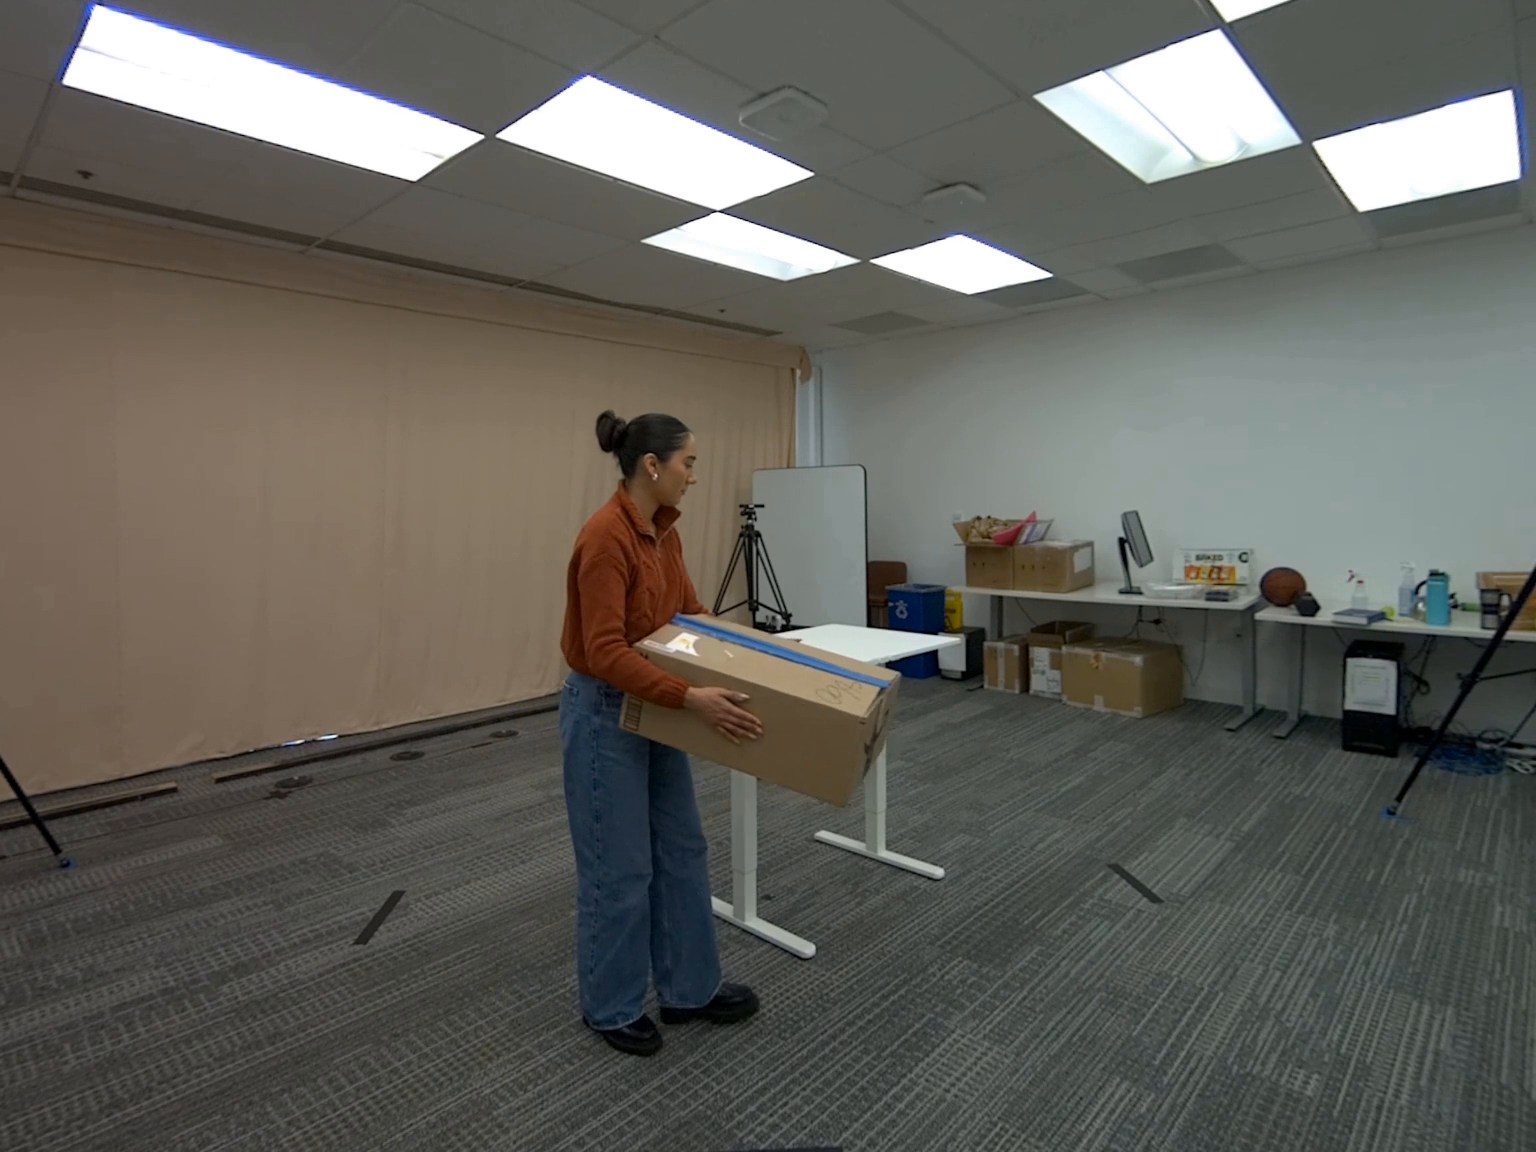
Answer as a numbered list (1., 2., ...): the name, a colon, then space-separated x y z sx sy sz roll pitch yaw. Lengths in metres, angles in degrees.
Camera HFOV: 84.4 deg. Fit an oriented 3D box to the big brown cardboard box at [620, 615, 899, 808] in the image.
1. big brown cardboard box: 0.000 0.298 2.076 0.602 0.232 0.410 16 12 18
